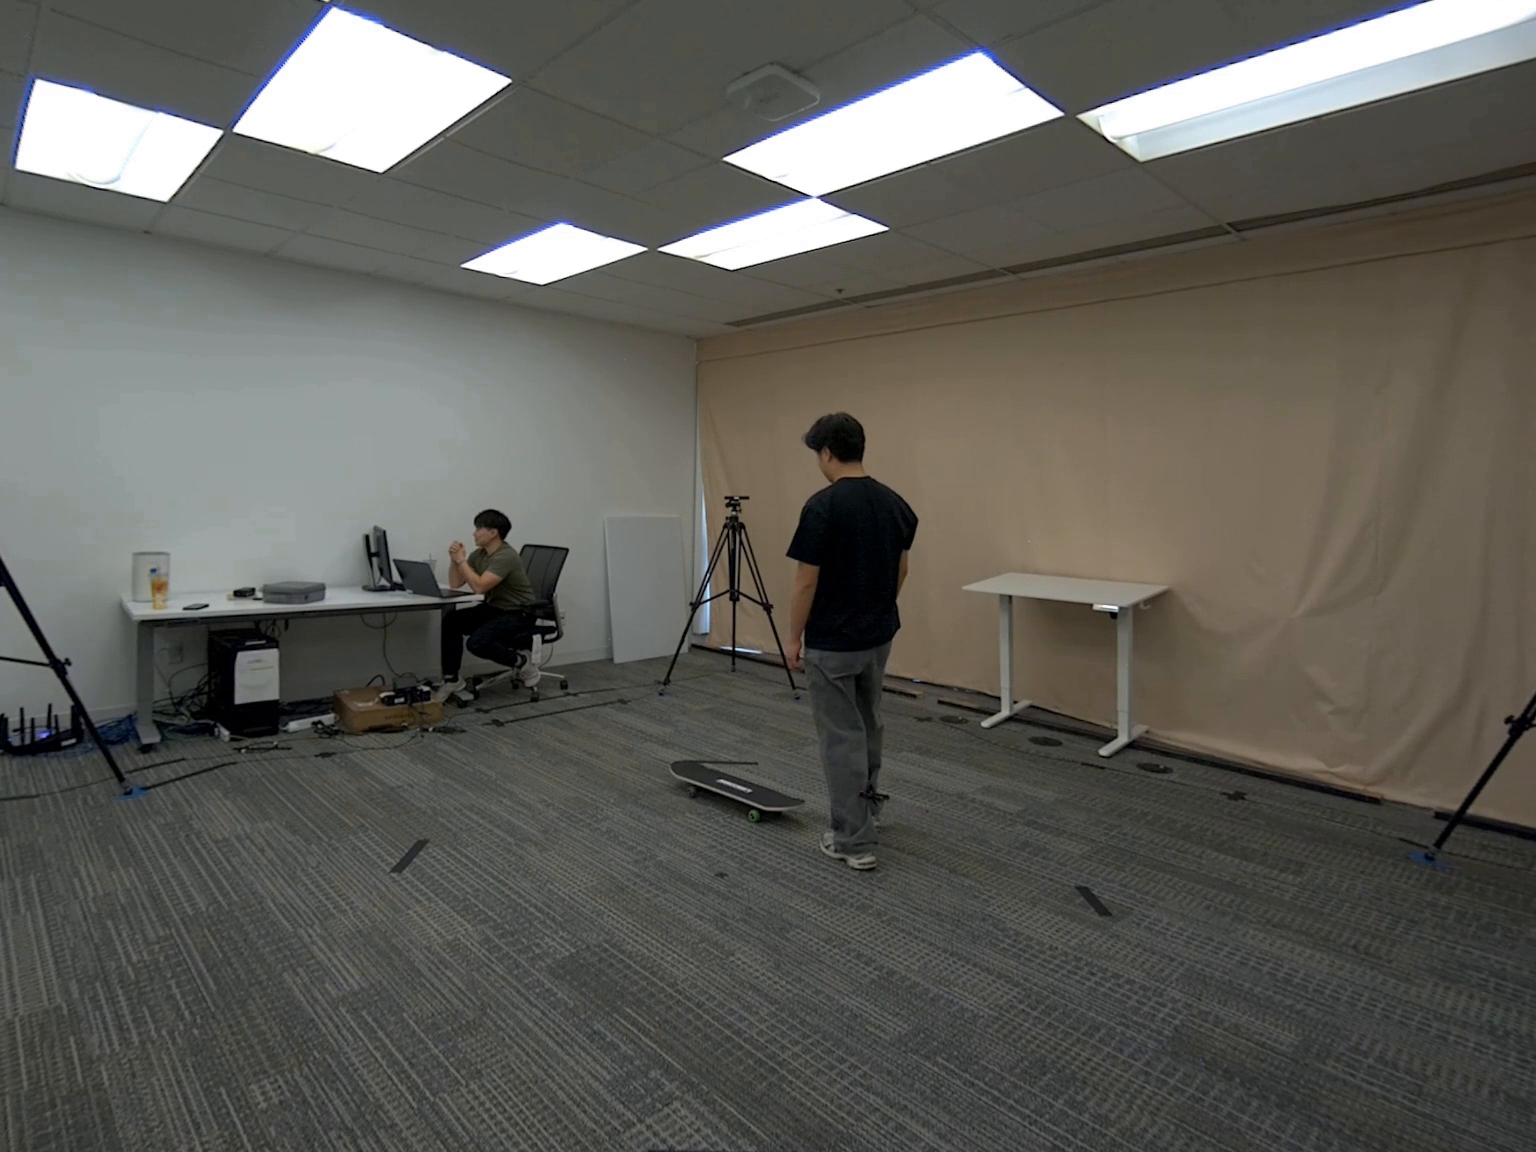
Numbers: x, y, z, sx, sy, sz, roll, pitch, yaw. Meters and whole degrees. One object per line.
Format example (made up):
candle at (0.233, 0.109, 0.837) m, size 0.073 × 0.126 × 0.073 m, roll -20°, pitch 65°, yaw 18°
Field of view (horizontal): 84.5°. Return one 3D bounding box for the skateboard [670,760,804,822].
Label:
skateboard at (-0.165, 0.985, 3.823) m, size 0.806 × 0.110 × 0.189 m, roll 6°, pitch 7°, yaw 43°
